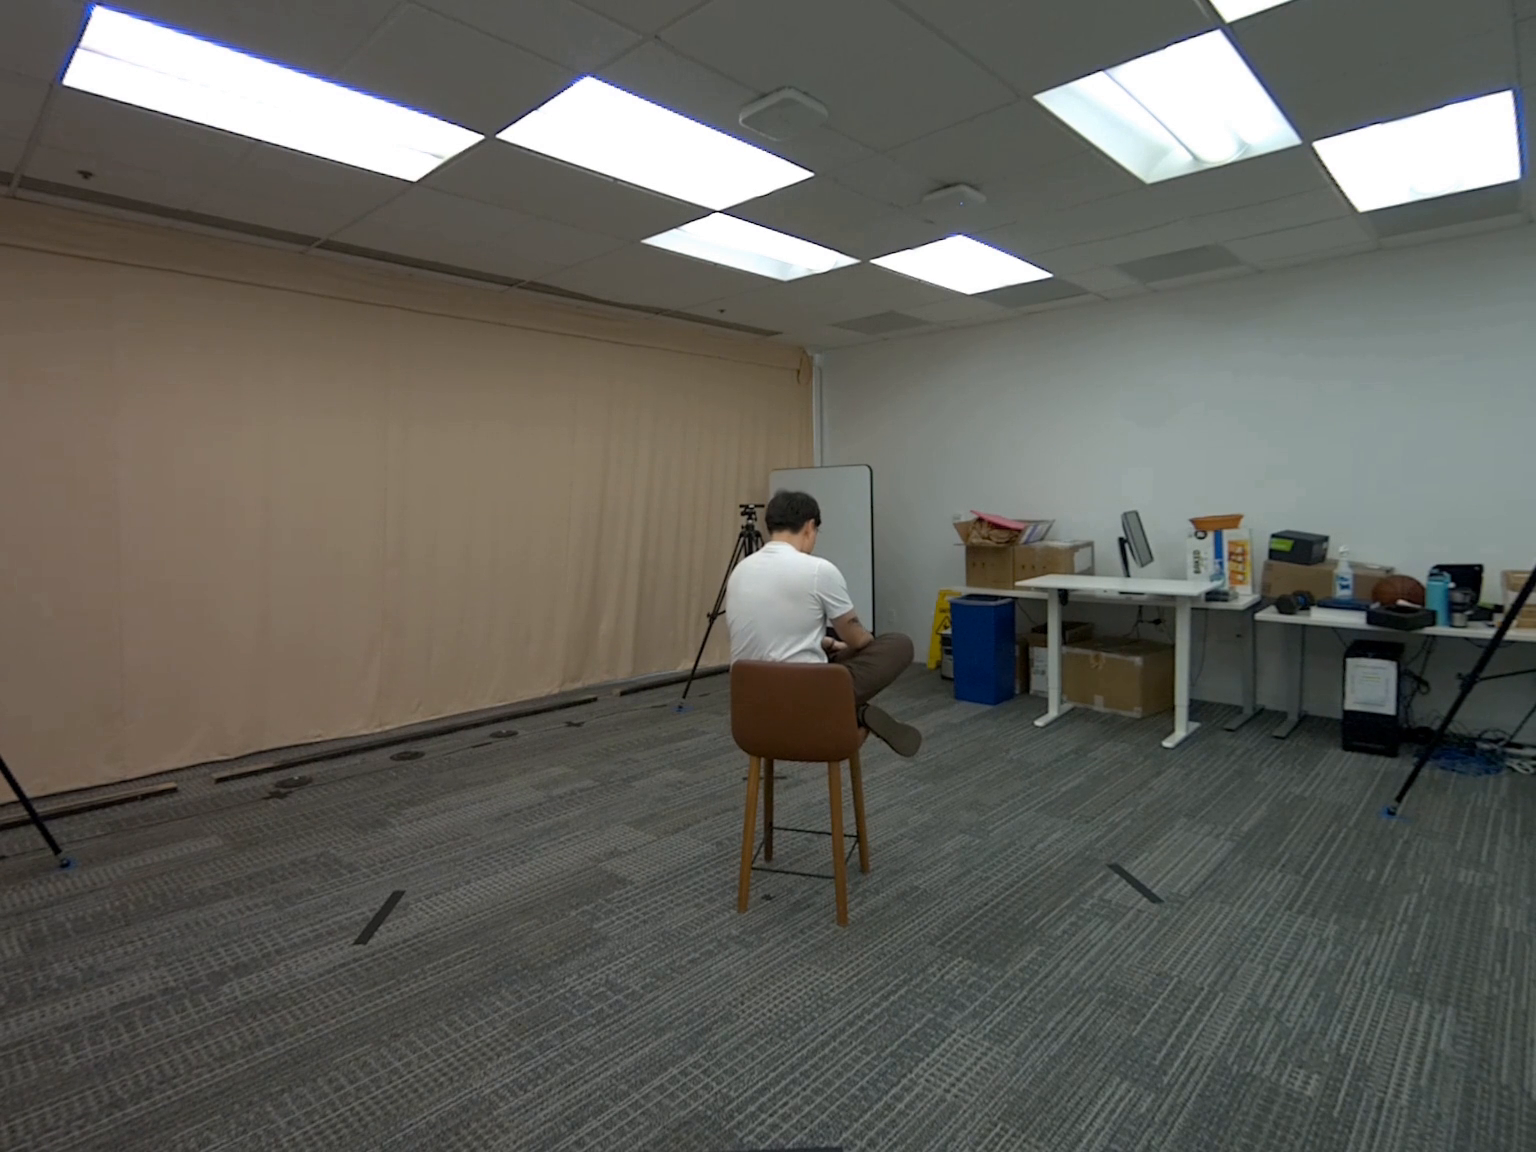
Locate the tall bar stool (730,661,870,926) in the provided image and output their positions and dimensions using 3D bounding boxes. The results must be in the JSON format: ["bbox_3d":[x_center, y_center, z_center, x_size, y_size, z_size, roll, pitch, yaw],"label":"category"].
[{"bbox_3d":[0.125,0.706,3.003,0.465,0.886,0.460,0,6,18],"label":"tall bar stool"}]
